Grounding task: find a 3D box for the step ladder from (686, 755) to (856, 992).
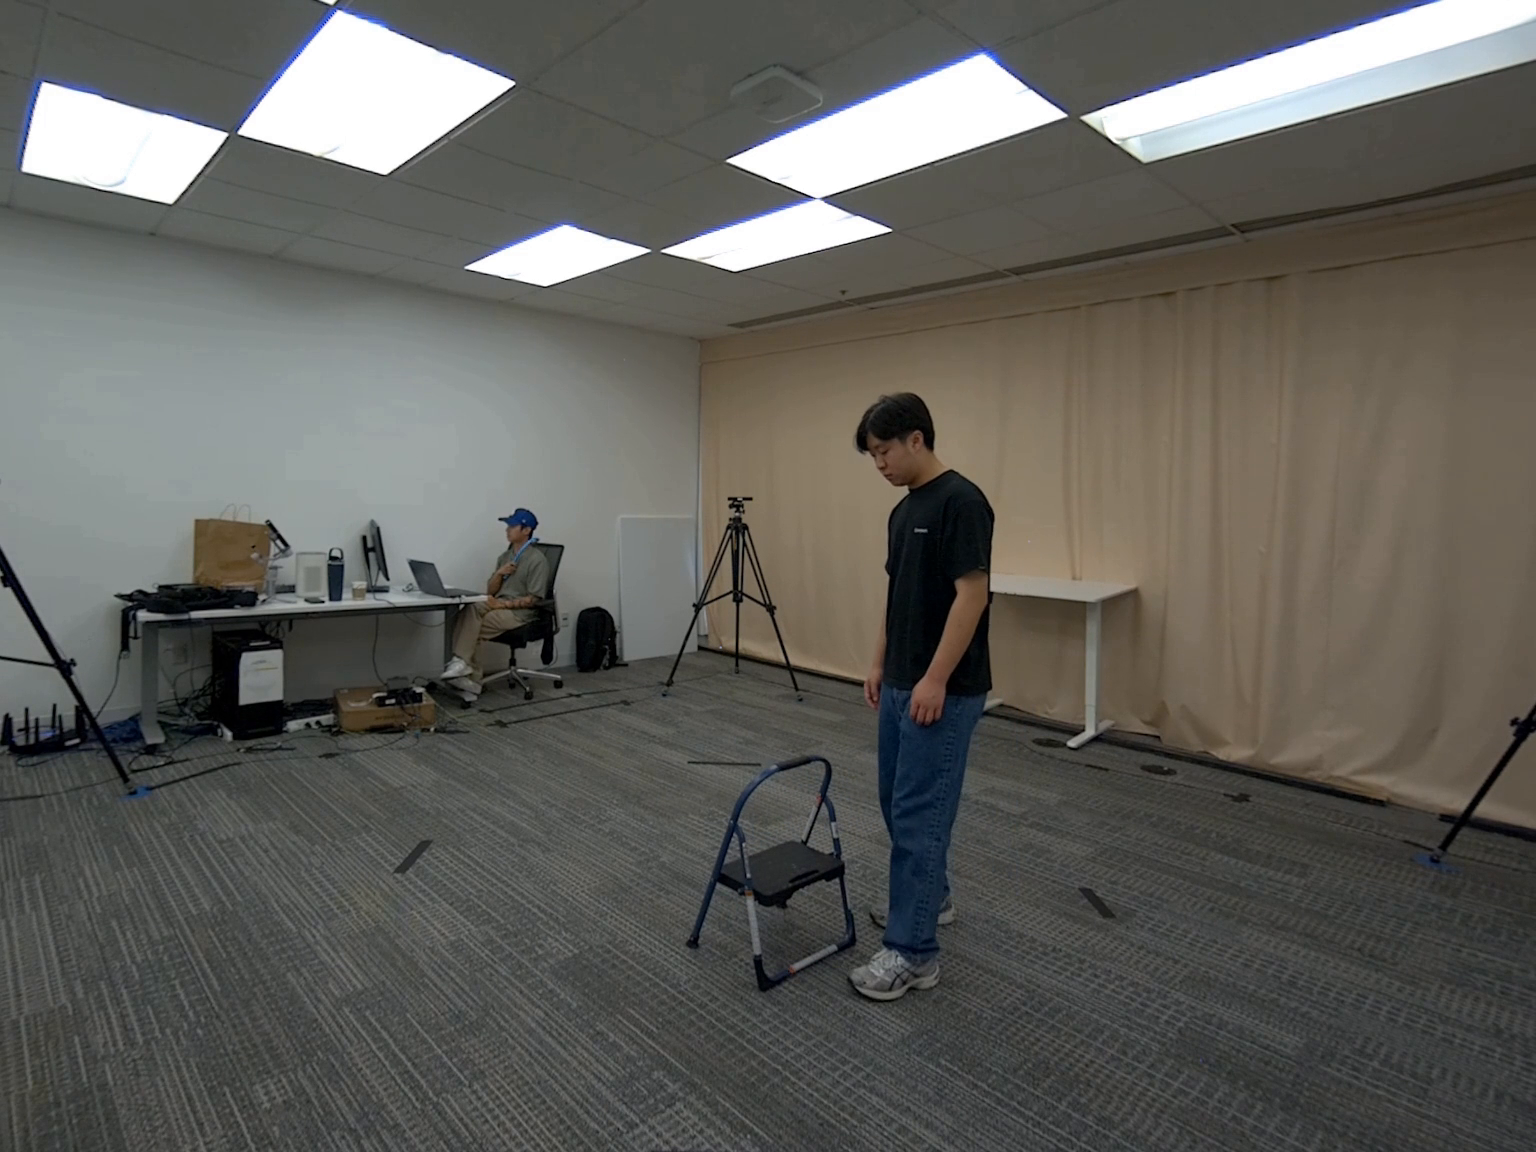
[{"bbox_3d":[0.018,0.852,2.620,0.421,0.605,0.358,-2,5,-44],"label":"step ladder"}]
